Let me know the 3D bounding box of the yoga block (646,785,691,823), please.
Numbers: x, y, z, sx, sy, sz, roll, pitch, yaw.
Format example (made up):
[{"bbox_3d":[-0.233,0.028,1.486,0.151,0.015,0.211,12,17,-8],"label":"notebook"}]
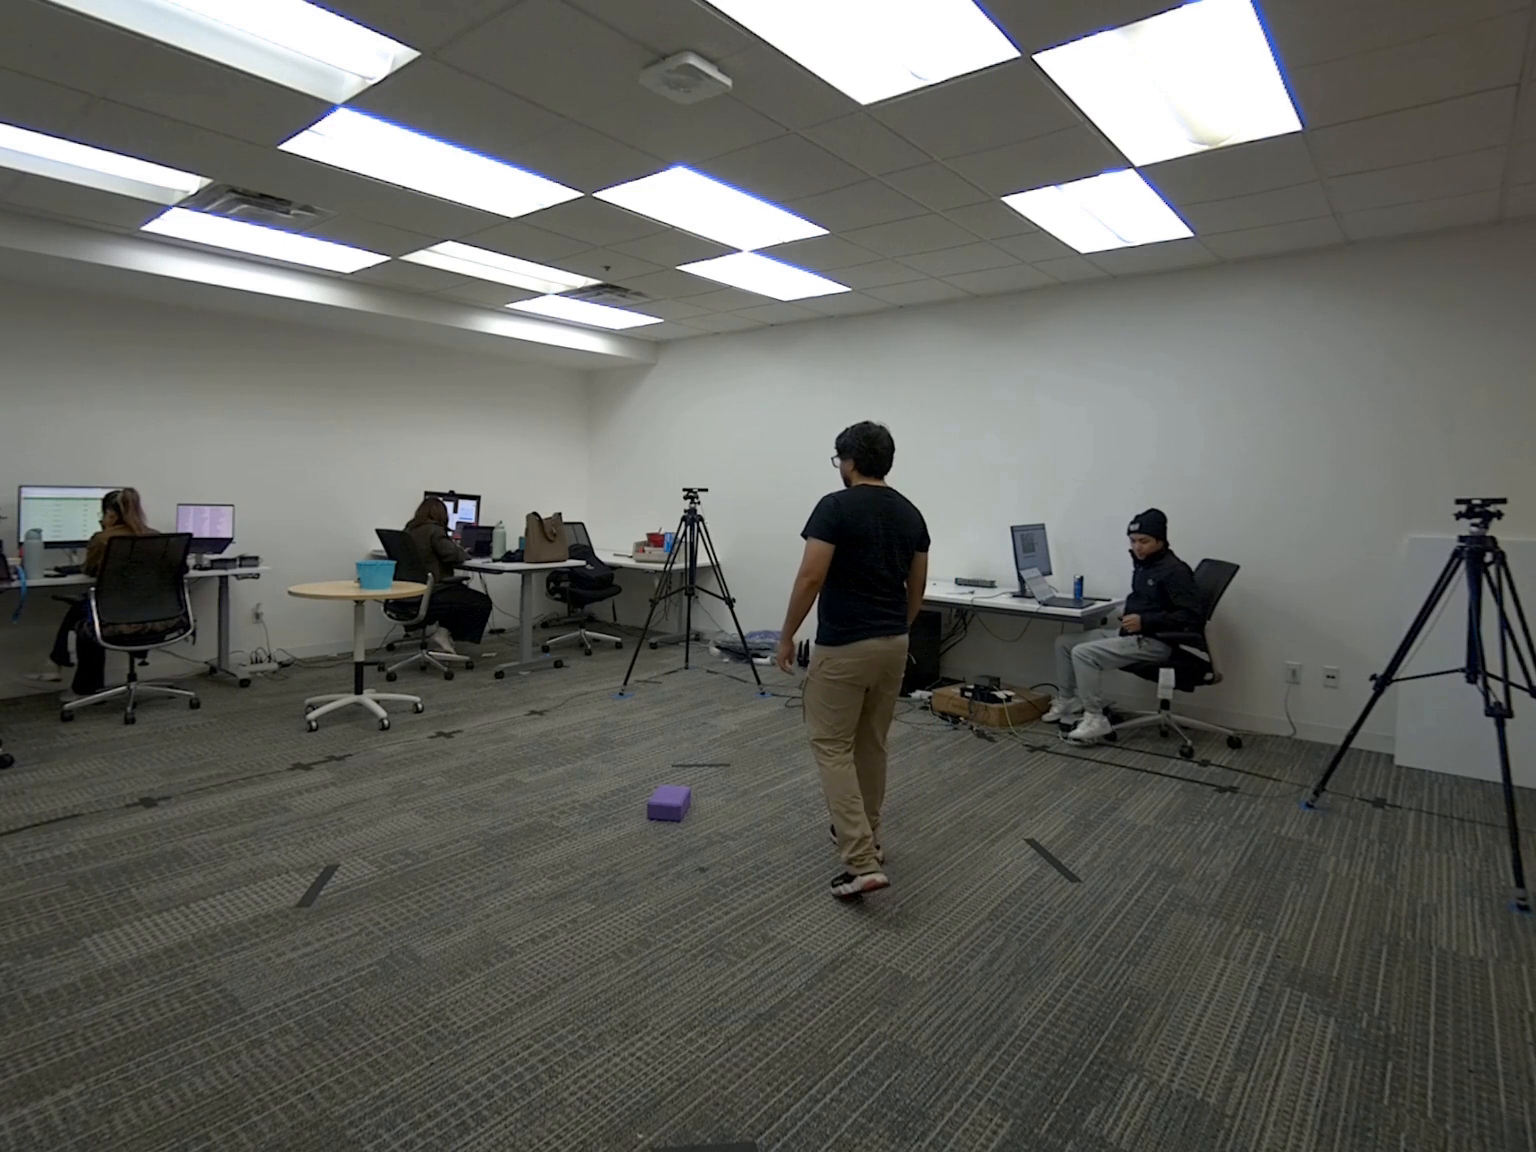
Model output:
[{"bbox_3d":[-0.435,0.972,3.666,0.150,0.076,0.228,2,6,8],"label":"yoga block"}]
